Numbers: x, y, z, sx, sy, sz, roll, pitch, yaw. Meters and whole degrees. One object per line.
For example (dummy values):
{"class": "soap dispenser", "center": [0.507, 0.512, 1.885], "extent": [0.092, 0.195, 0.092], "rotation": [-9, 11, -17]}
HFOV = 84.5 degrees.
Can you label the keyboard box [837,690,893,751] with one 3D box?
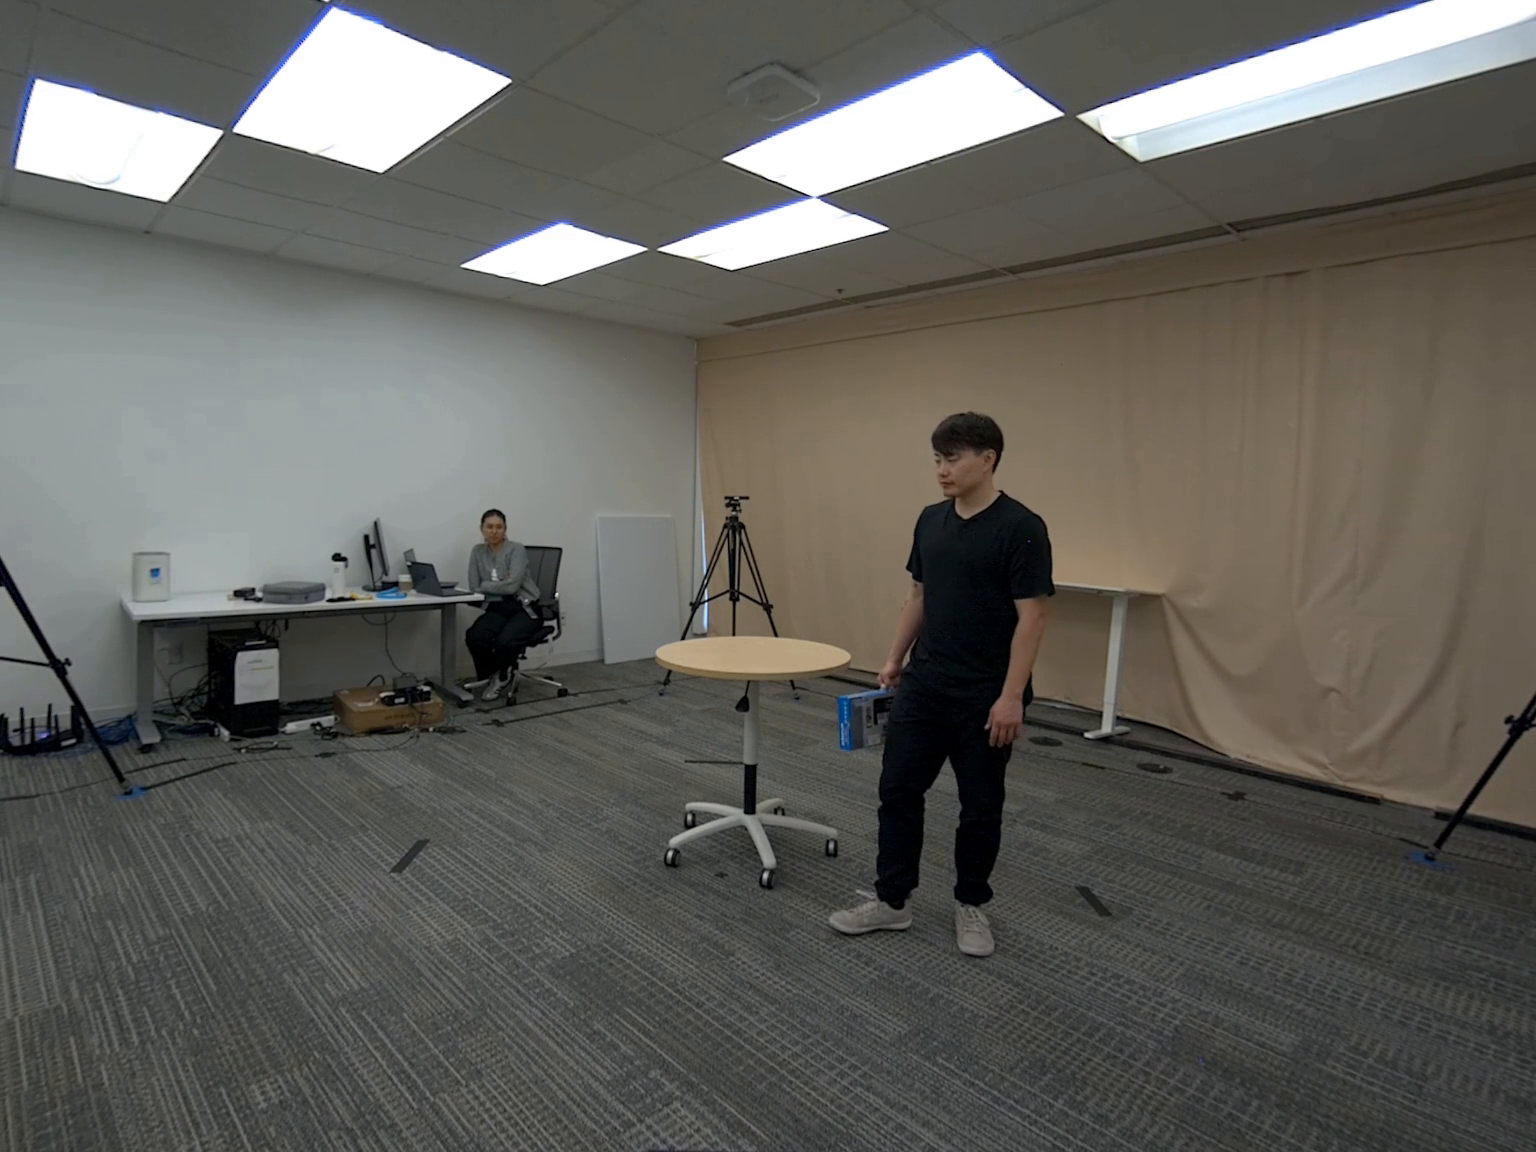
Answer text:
{"class": "keyboard box", "center": [0.421, 0.477, 2.878], "extent": [0.428, 0.176, 0.060], "rotation": [-3, 1, -32]}
